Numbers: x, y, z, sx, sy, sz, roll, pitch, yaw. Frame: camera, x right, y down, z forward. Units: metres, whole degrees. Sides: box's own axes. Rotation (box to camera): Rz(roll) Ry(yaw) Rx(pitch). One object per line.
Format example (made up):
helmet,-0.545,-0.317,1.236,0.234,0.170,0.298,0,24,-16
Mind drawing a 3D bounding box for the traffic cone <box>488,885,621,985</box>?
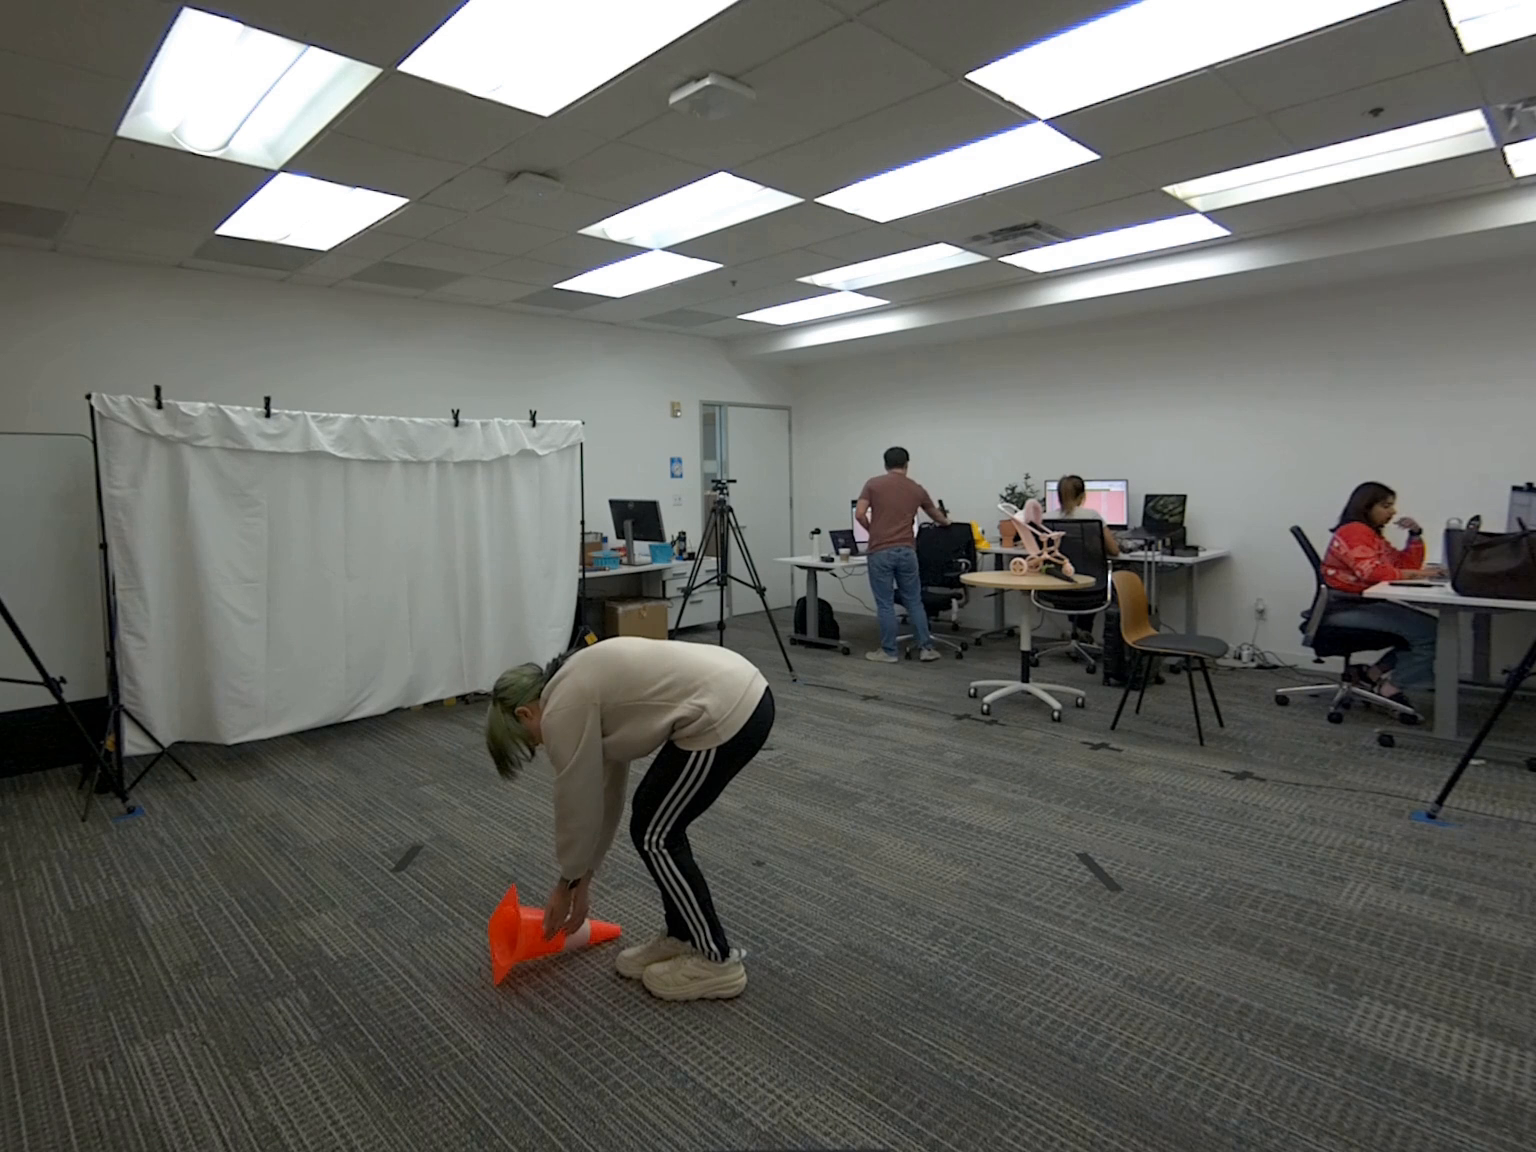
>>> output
traffic cone,-0.601,1.061,2.529,0.371,0.204,0.211,15,32,-37
